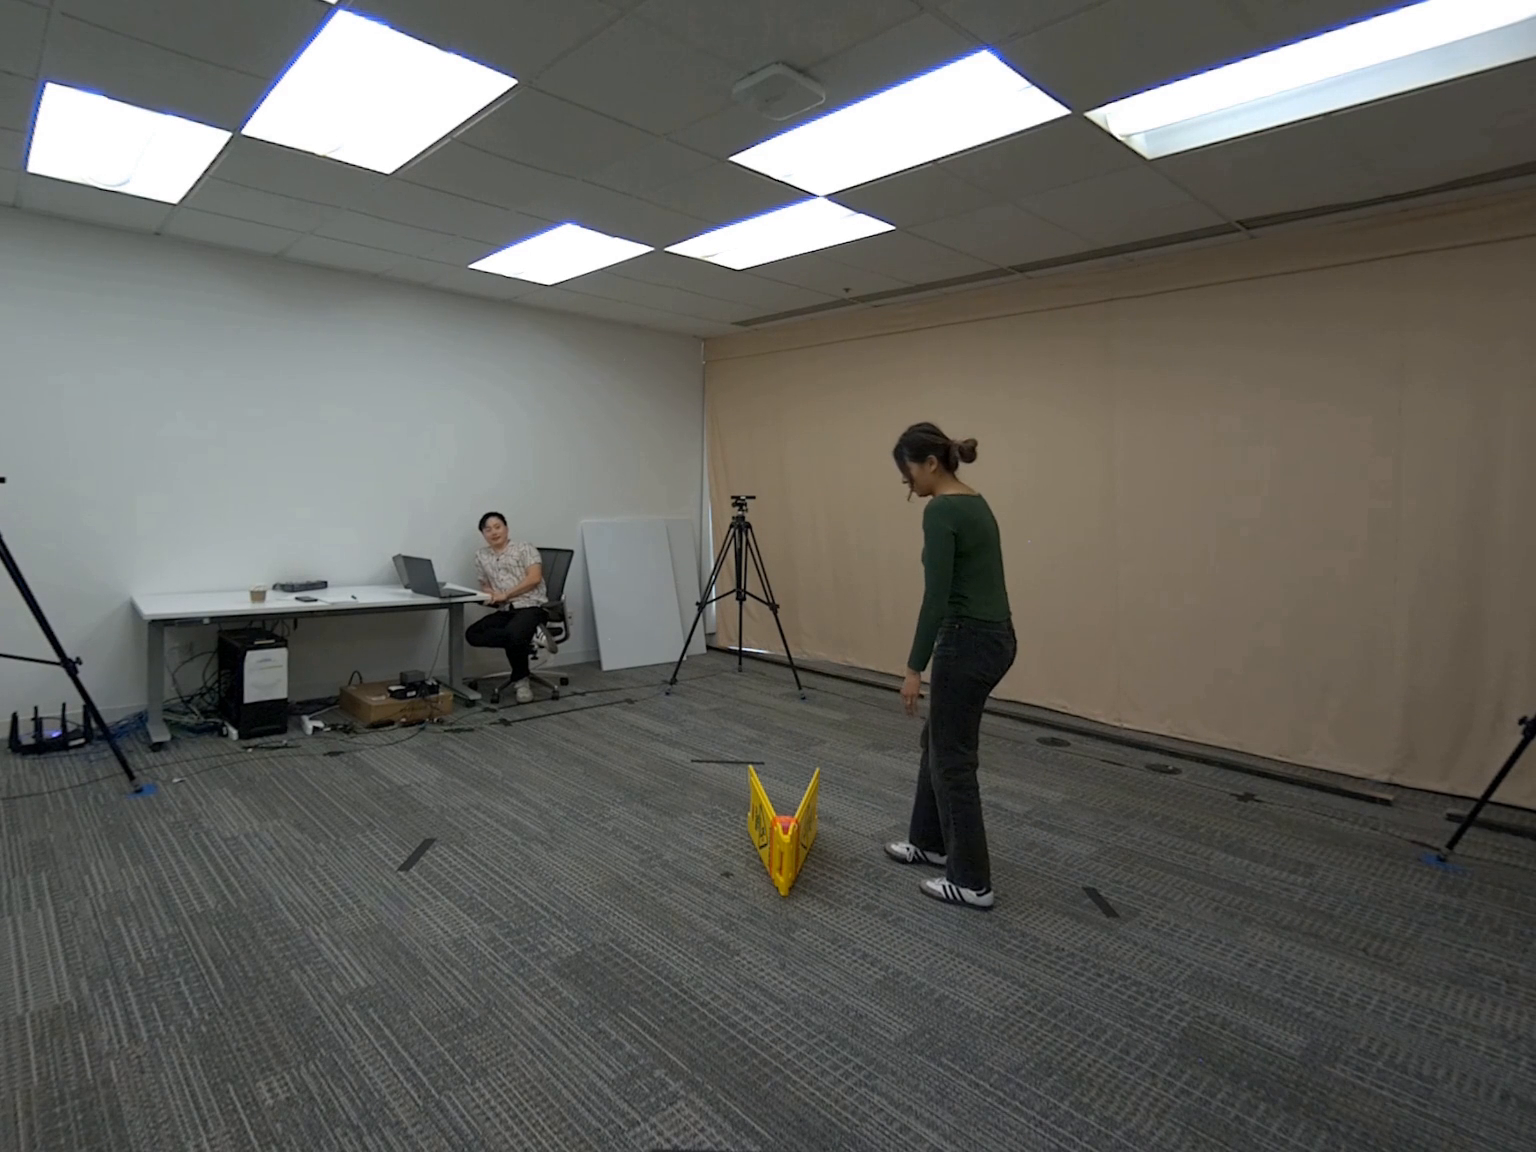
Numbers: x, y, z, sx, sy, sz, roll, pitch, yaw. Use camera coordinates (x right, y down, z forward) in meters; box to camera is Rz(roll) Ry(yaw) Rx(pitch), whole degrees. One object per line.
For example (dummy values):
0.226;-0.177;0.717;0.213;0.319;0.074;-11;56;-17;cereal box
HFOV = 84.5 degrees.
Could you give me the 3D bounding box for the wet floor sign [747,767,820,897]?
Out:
0.057;0.965;3.195;0.290;0.281;0.648;2;7;0;wet floor sign
